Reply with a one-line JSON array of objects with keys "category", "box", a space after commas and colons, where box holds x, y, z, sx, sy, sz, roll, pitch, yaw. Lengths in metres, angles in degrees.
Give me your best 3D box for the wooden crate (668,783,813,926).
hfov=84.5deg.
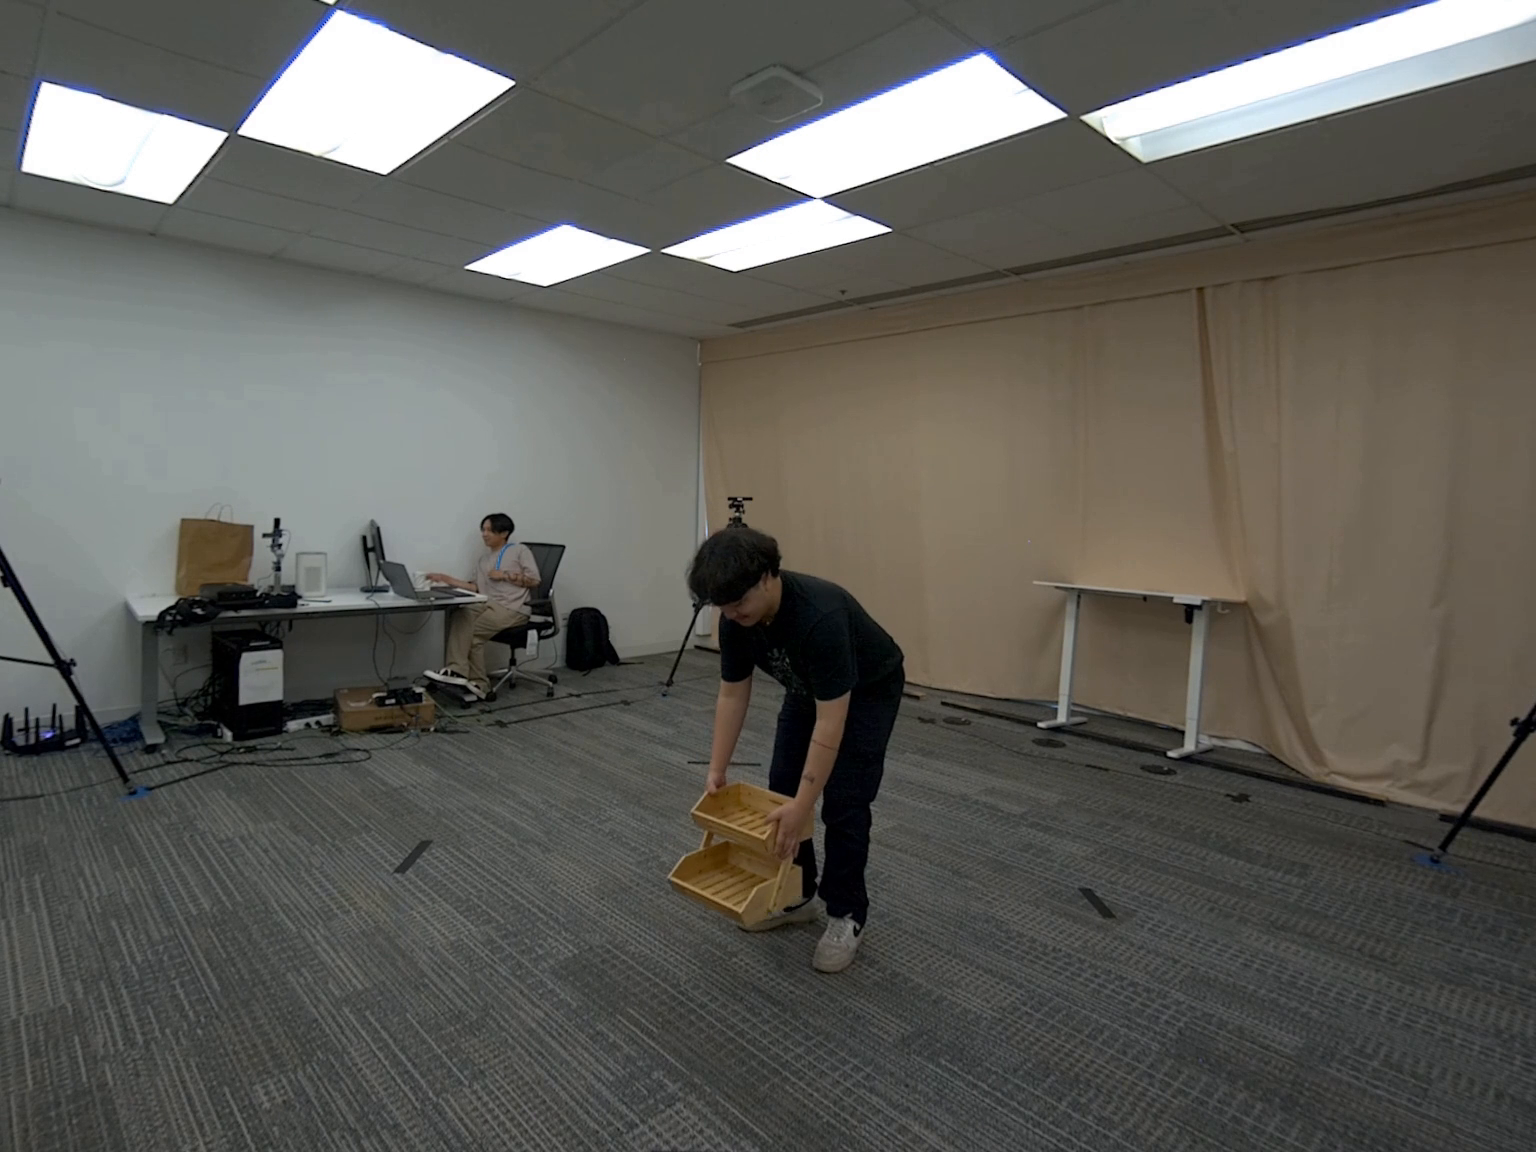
[{"category": "wooden crate", "box": [-0.092, 0.783, 2.433, 0.332, 0.273, 0.295, 3, 4, 43]}]
